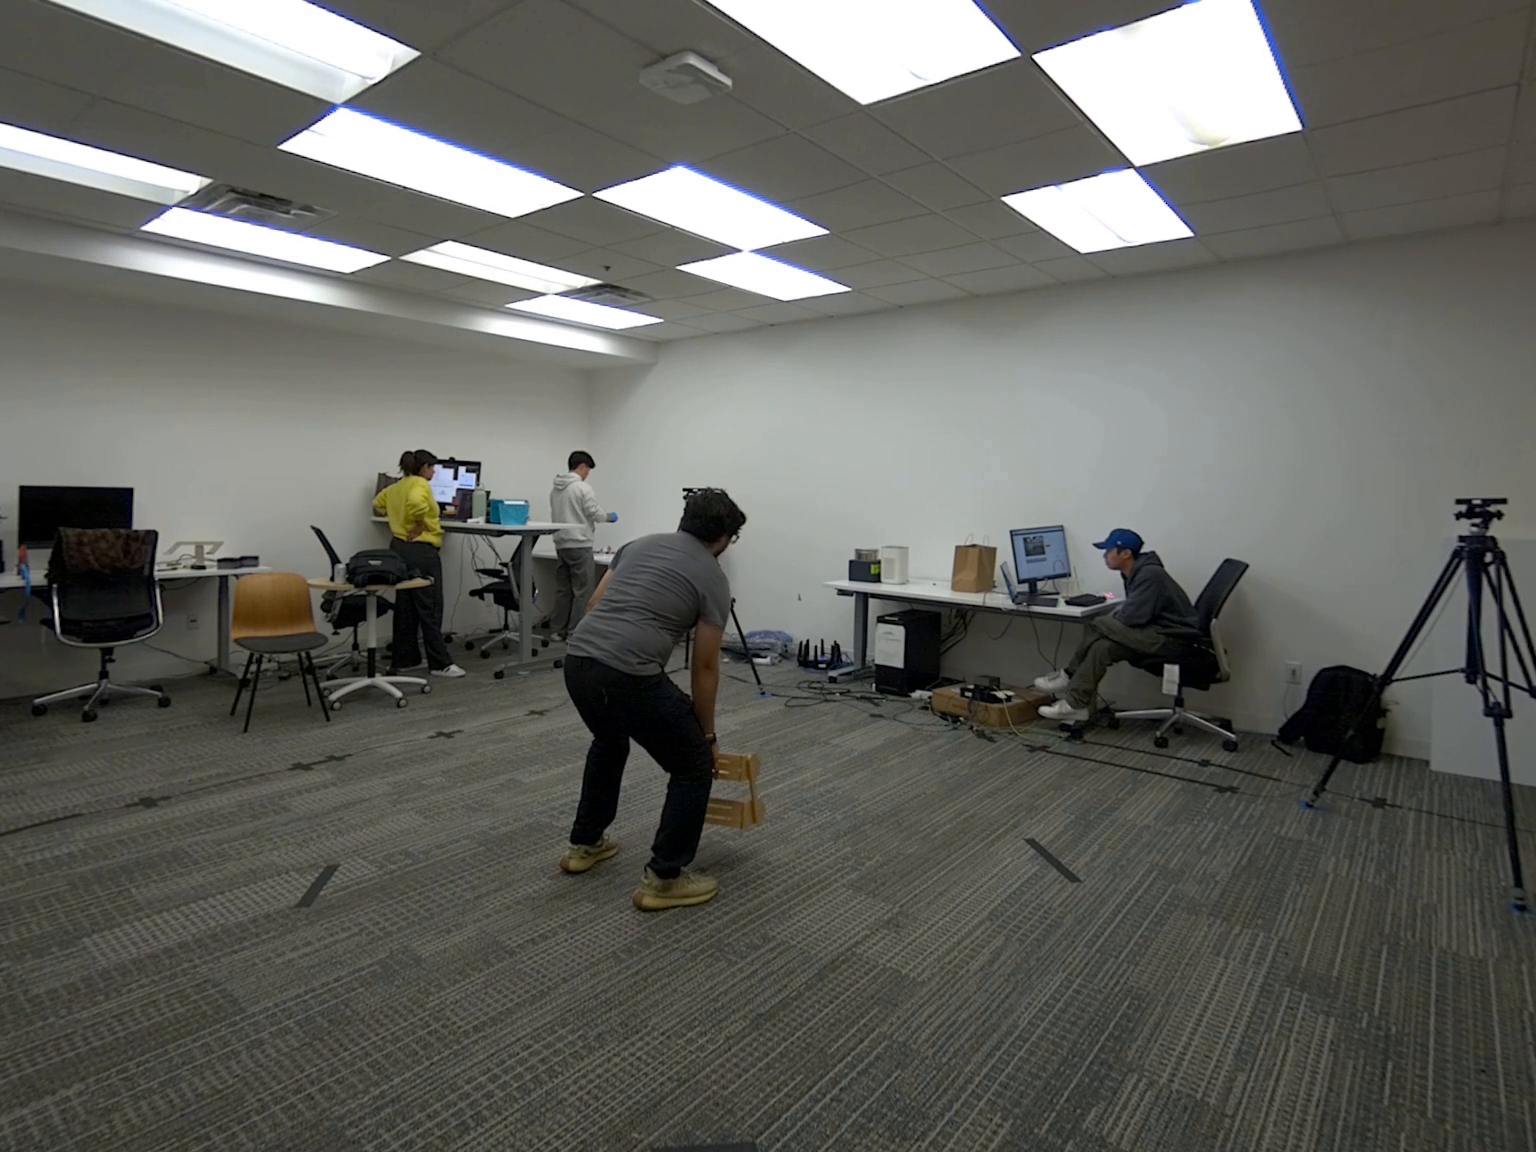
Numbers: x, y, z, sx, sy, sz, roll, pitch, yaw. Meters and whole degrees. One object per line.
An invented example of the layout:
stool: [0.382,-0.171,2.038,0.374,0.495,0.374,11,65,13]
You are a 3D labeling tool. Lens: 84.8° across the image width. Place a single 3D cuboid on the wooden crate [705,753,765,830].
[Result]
wooden crate: [-0.201,0.777,3.201,0.332,0.275,0.293,1,-7,21]
